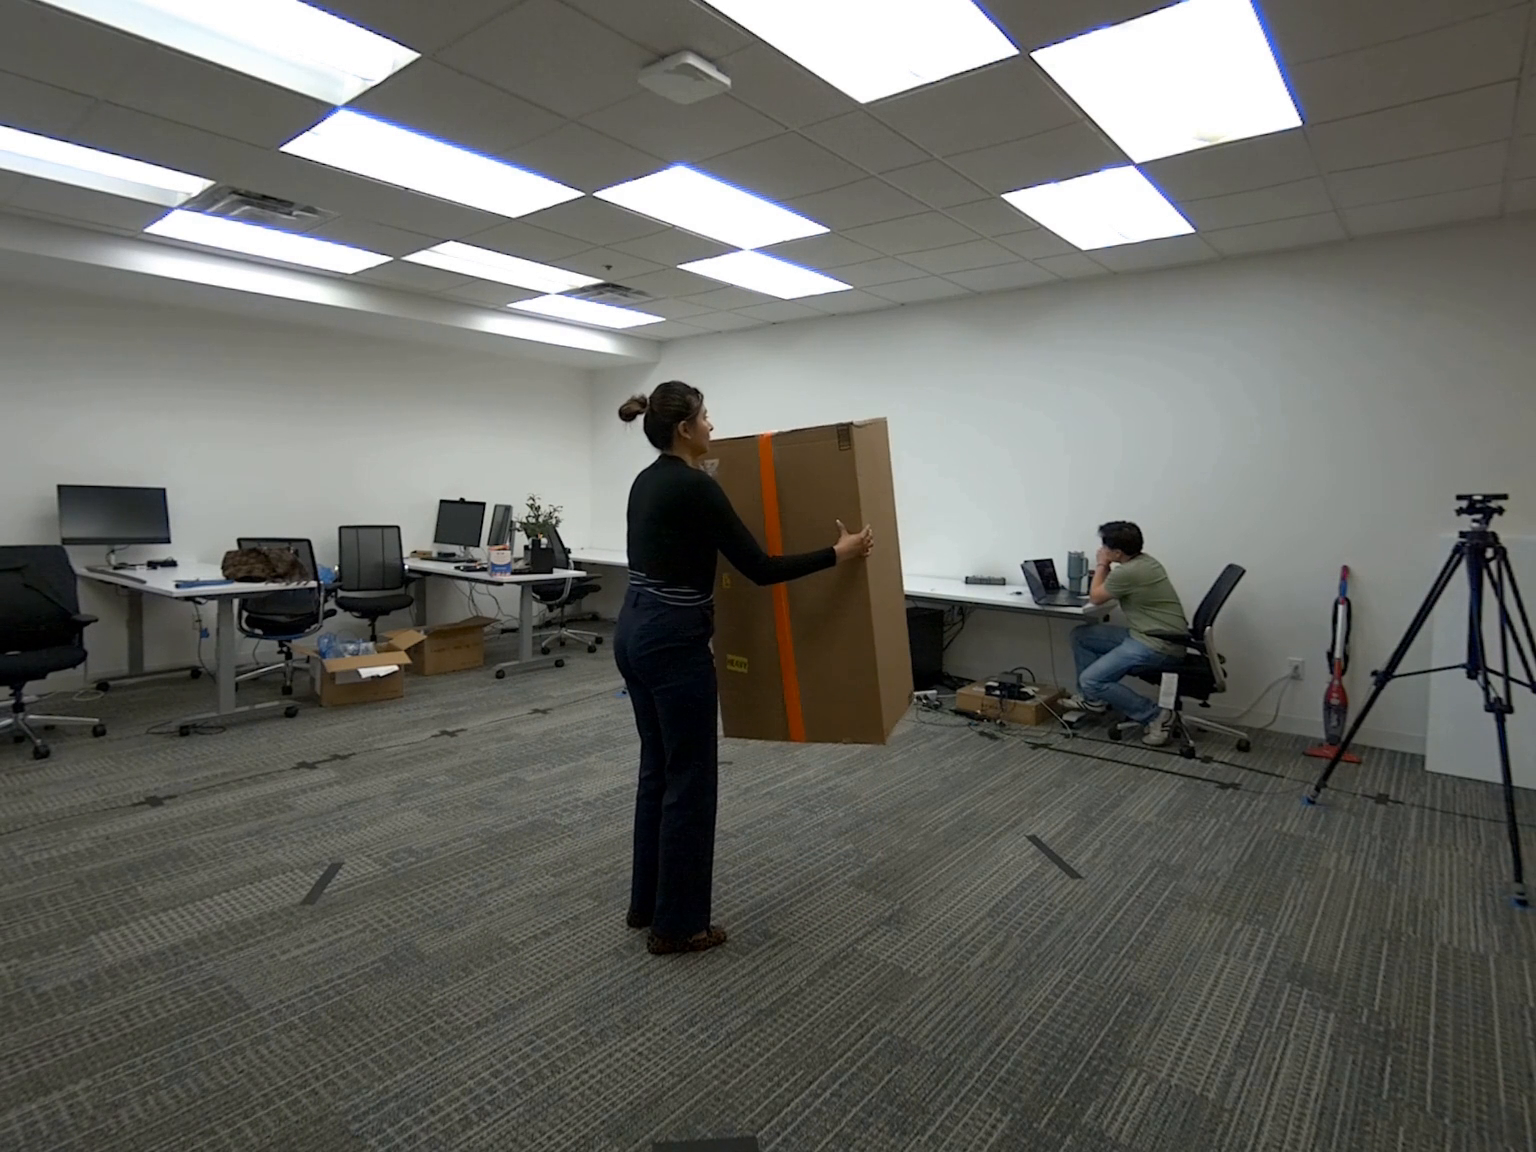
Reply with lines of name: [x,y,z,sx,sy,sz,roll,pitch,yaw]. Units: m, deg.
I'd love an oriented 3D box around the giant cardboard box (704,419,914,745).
giant cardboard box: [0.122,0.009,2.930,0.591,1.019,0.419,-4,7,26]
